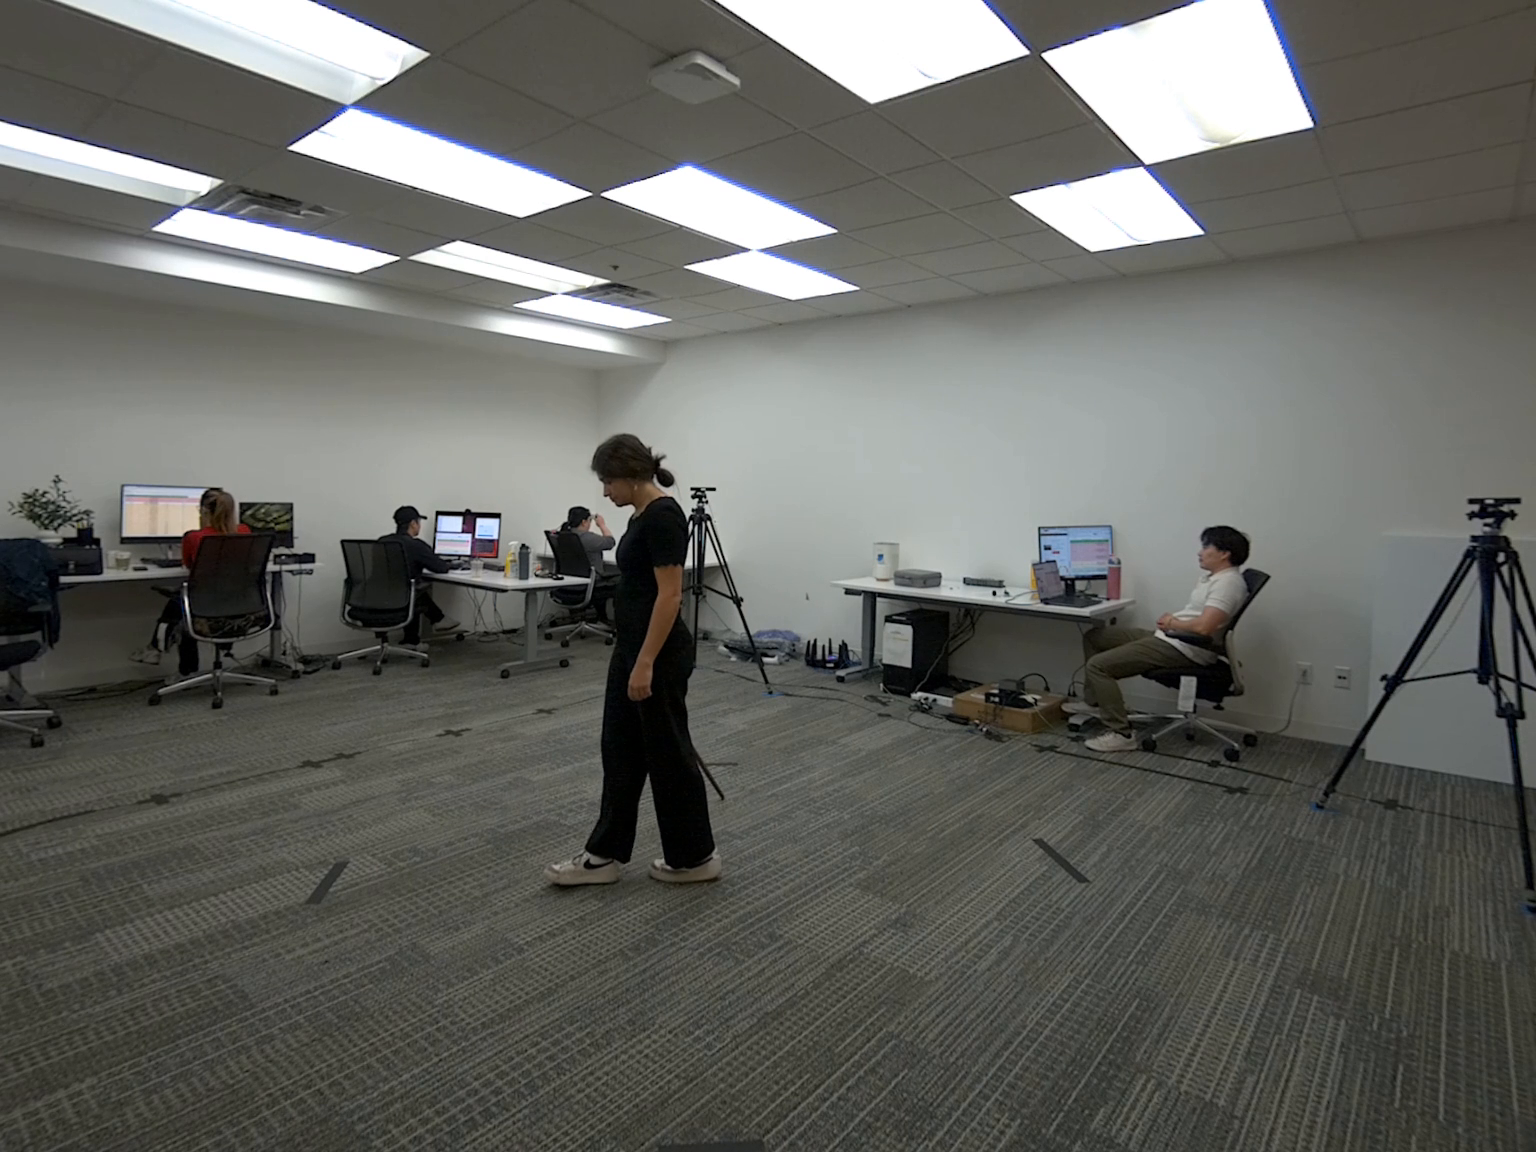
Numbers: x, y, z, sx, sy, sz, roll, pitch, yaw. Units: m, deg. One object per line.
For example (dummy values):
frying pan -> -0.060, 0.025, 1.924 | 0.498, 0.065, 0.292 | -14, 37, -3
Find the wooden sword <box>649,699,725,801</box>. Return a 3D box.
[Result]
wooden sword -> -0.355, 0.662, 3.496 | 0.052, 0.986, 0.025 | -9, 43, 14
